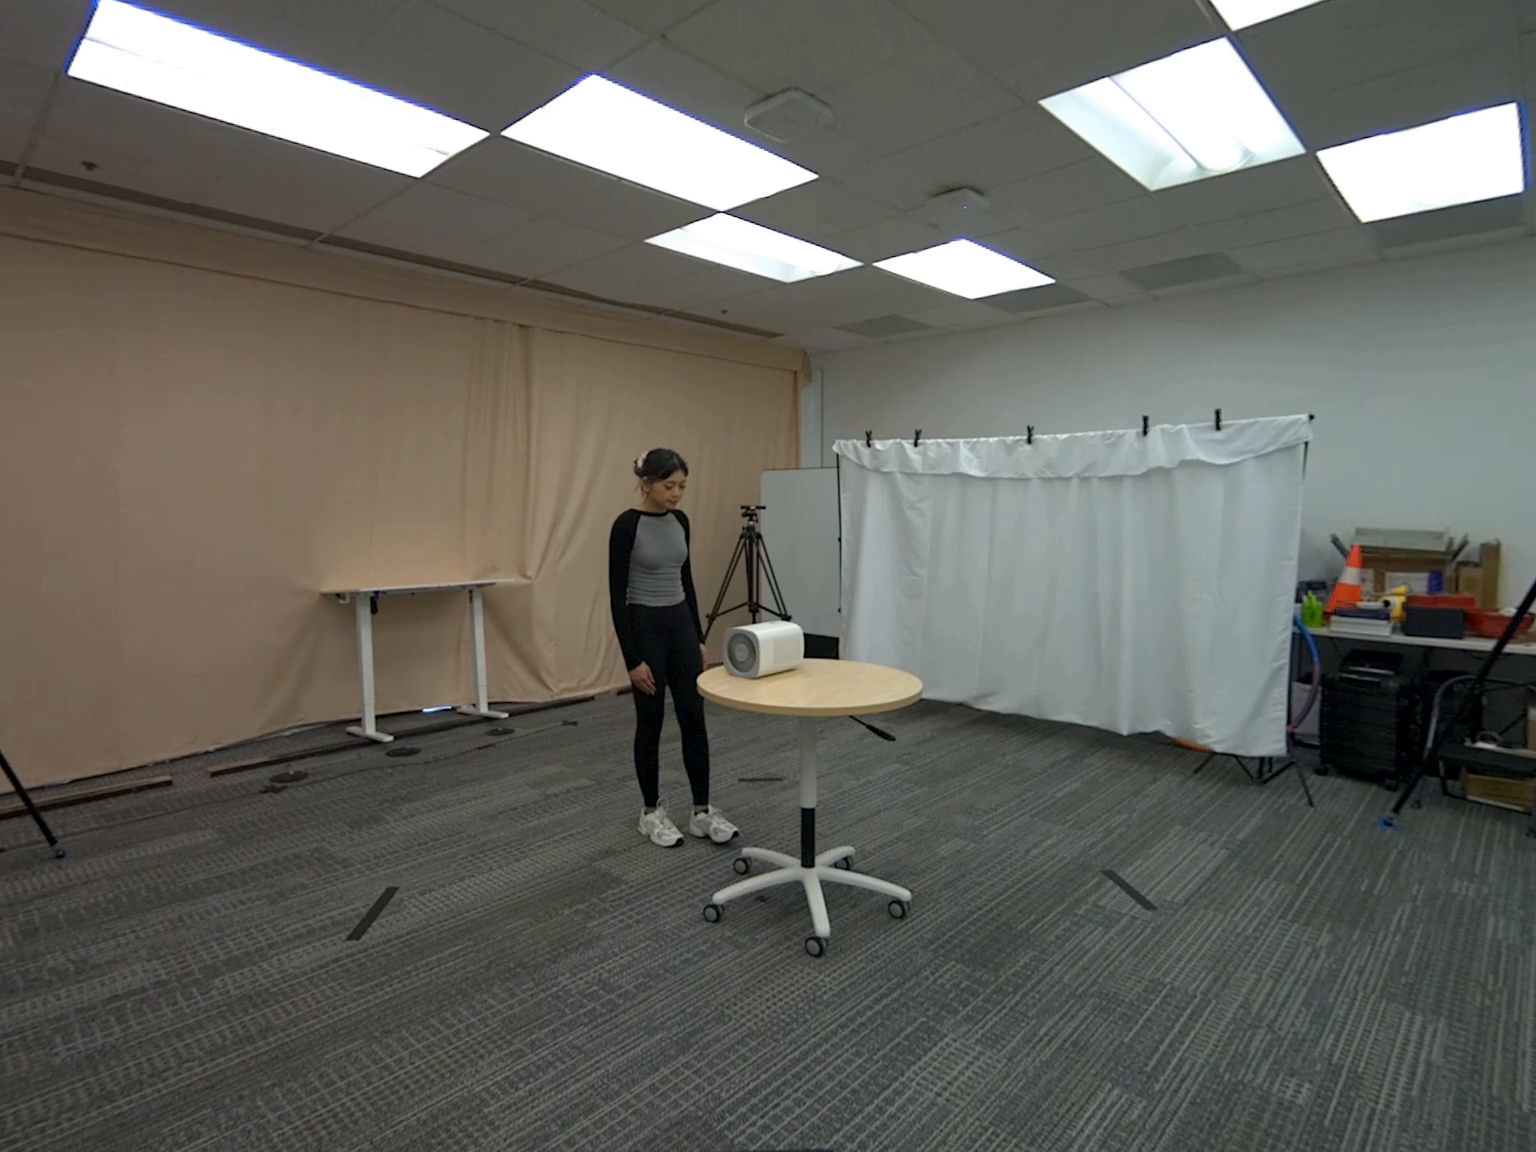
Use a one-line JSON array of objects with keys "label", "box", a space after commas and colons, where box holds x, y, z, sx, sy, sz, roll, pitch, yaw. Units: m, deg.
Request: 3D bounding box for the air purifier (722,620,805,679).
[{"label": "air purifier", "box": [-0.005, 0.258, 3.019, 0.177, 0.171, 0.257, 3, 5, 42]}]
